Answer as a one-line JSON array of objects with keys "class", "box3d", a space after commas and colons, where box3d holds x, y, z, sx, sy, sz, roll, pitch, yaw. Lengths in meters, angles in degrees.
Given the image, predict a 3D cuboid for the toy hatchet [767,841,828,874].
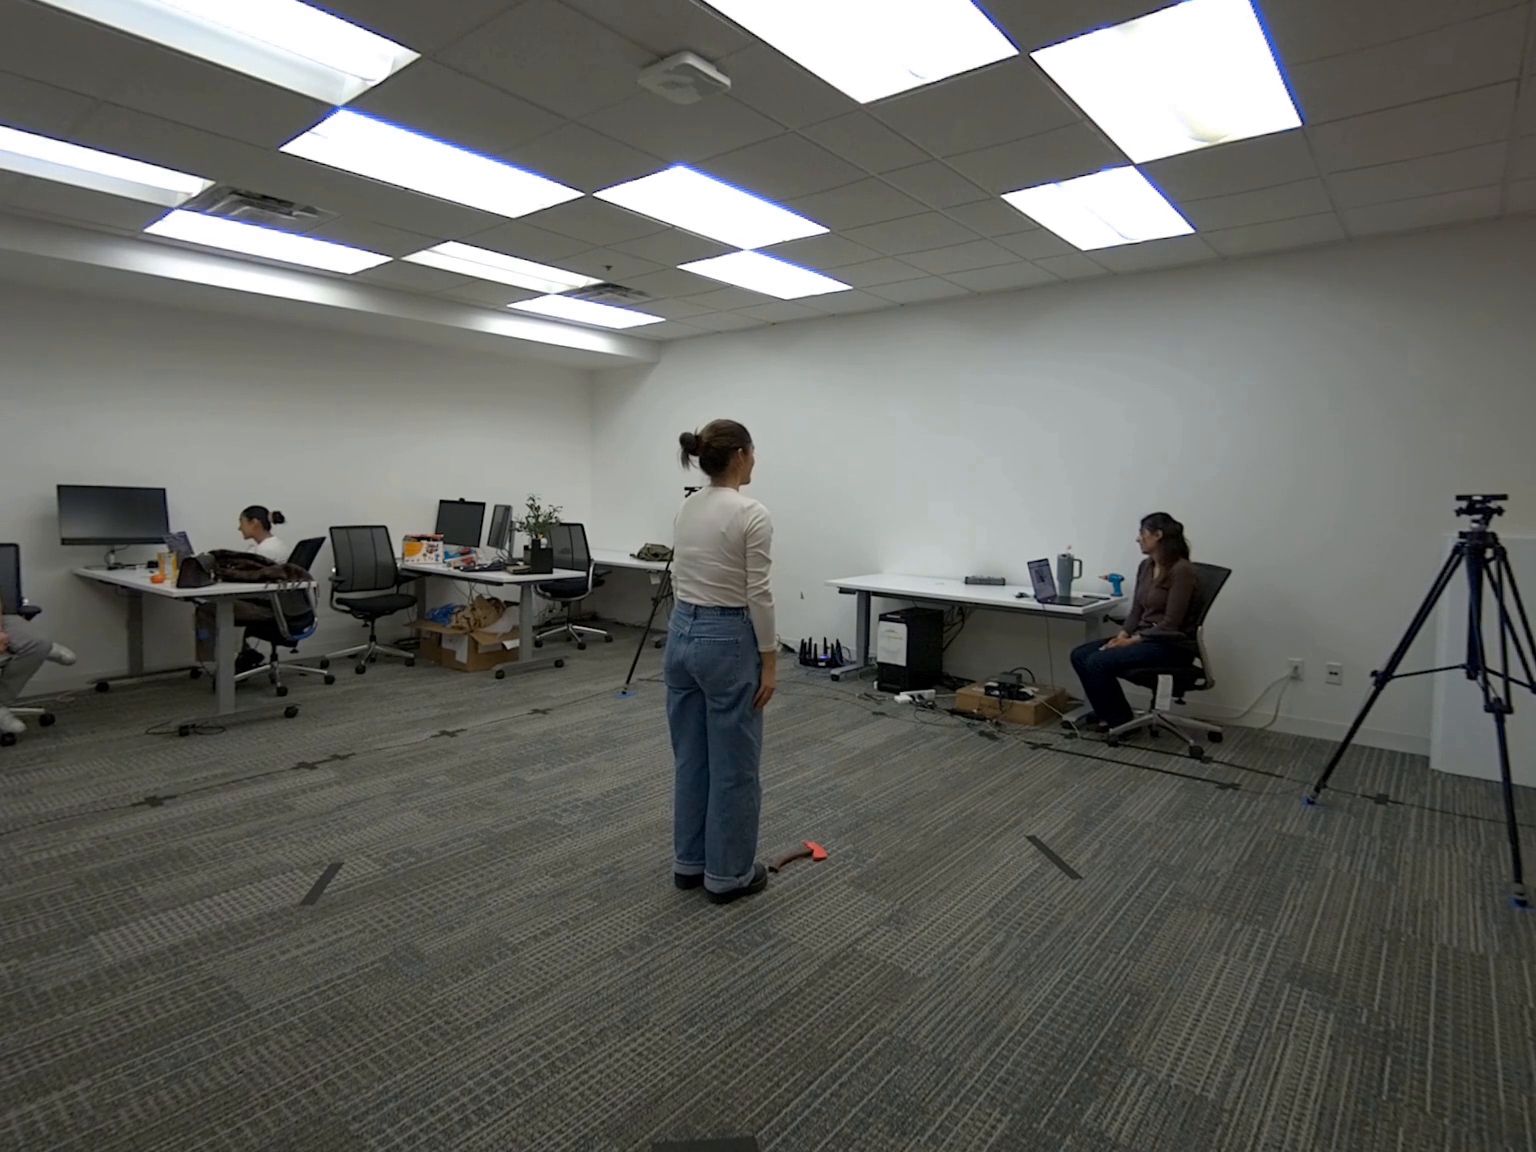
[{"class": "toy hatchet", "box3d": [0.114, 1.053, 3.172, 0.135, 0.029, 0.263, 8, 11, 34]}]
